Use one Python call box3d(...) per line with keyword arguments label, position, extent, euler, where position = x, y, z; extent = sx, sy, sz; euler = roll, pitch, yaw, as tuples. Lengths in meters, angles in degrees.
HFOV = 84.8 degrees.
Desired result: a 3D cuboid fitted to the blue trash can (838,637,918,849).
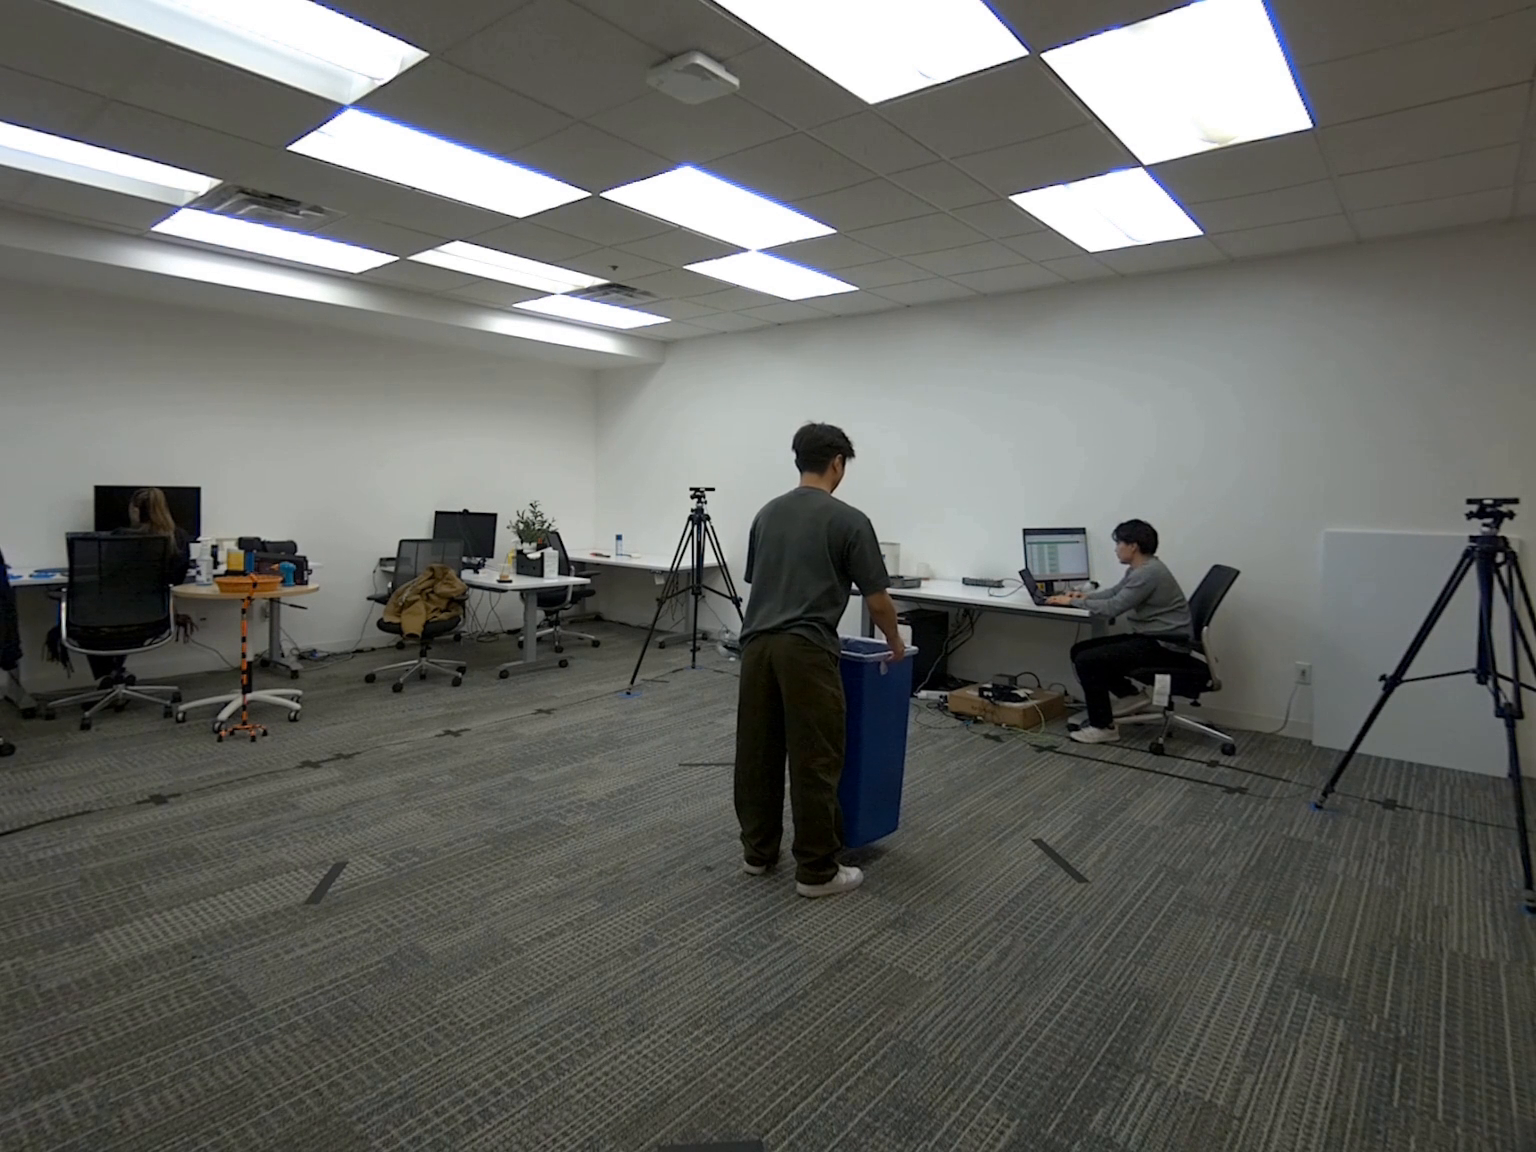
box3d(label="blue trash can", position=(0.303, 0.615, 3.291), extent=(0.387, 0.712, 0.366), euler=(6, 3, 42))
